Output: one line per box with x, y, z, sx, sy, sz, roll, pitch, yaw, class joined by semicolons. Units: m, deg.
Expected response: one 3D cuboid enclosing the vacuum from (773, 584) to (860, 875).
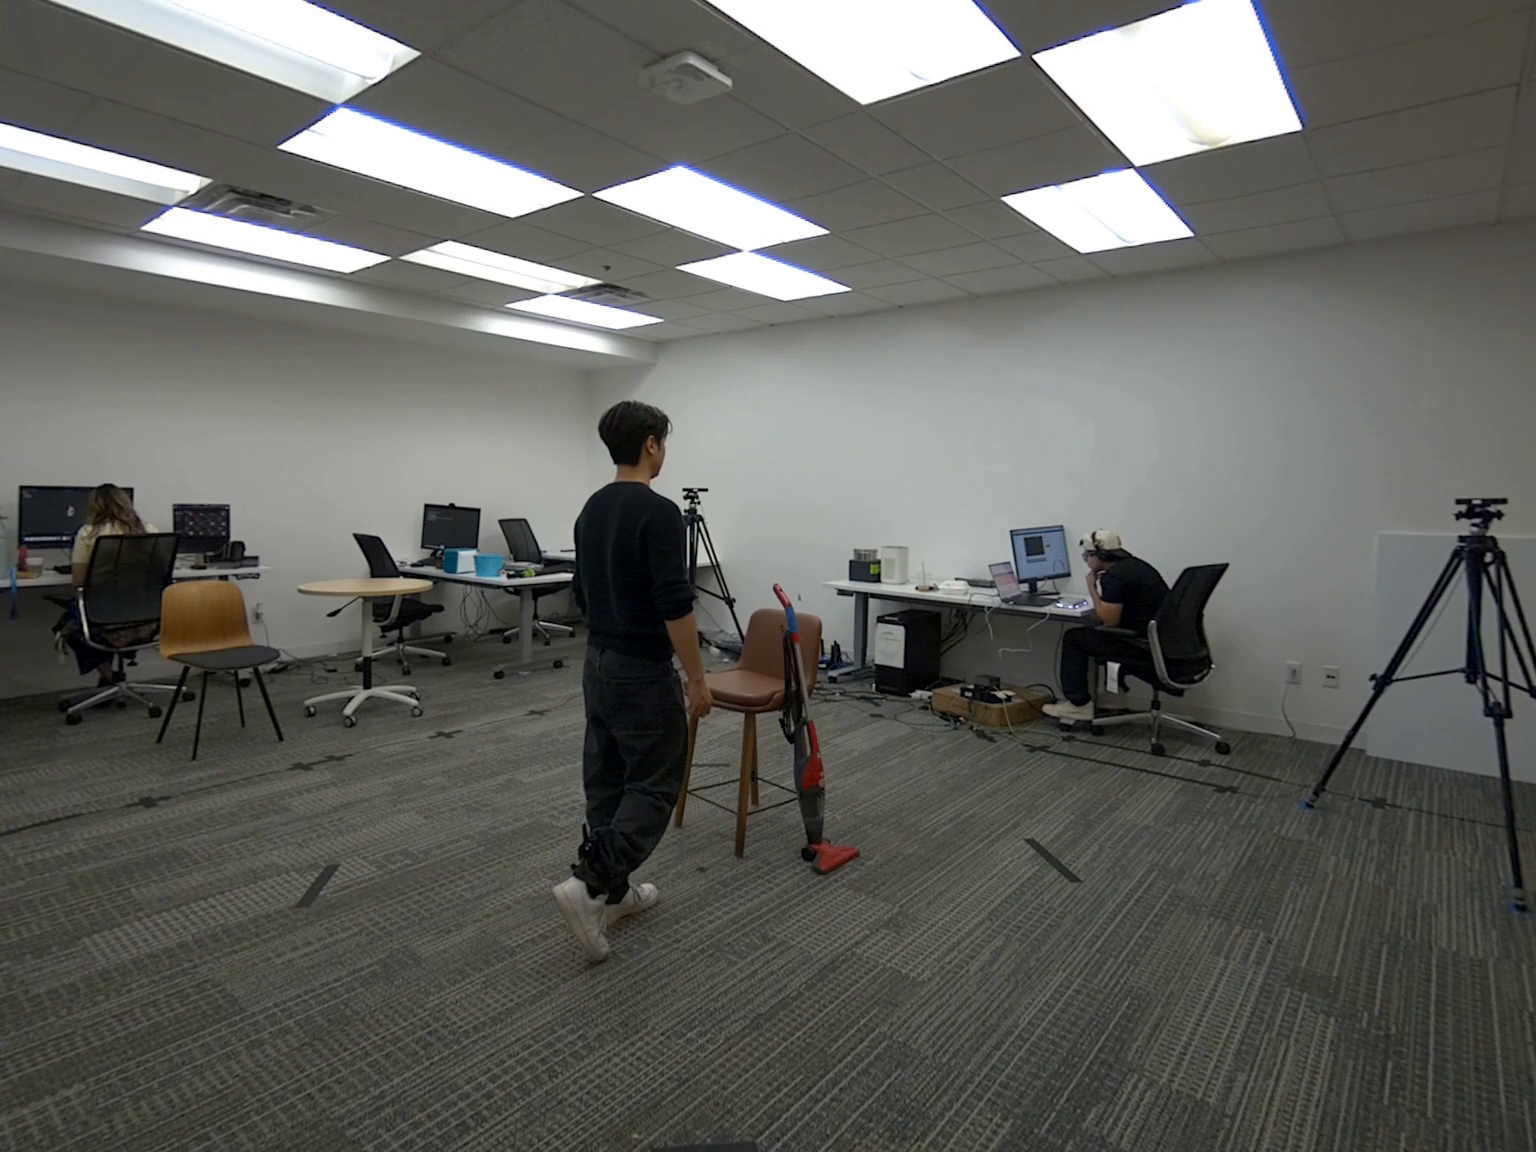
0.127;0.552;3.292;0.147;1.058;0.245;-16;-9;41;vacuum
